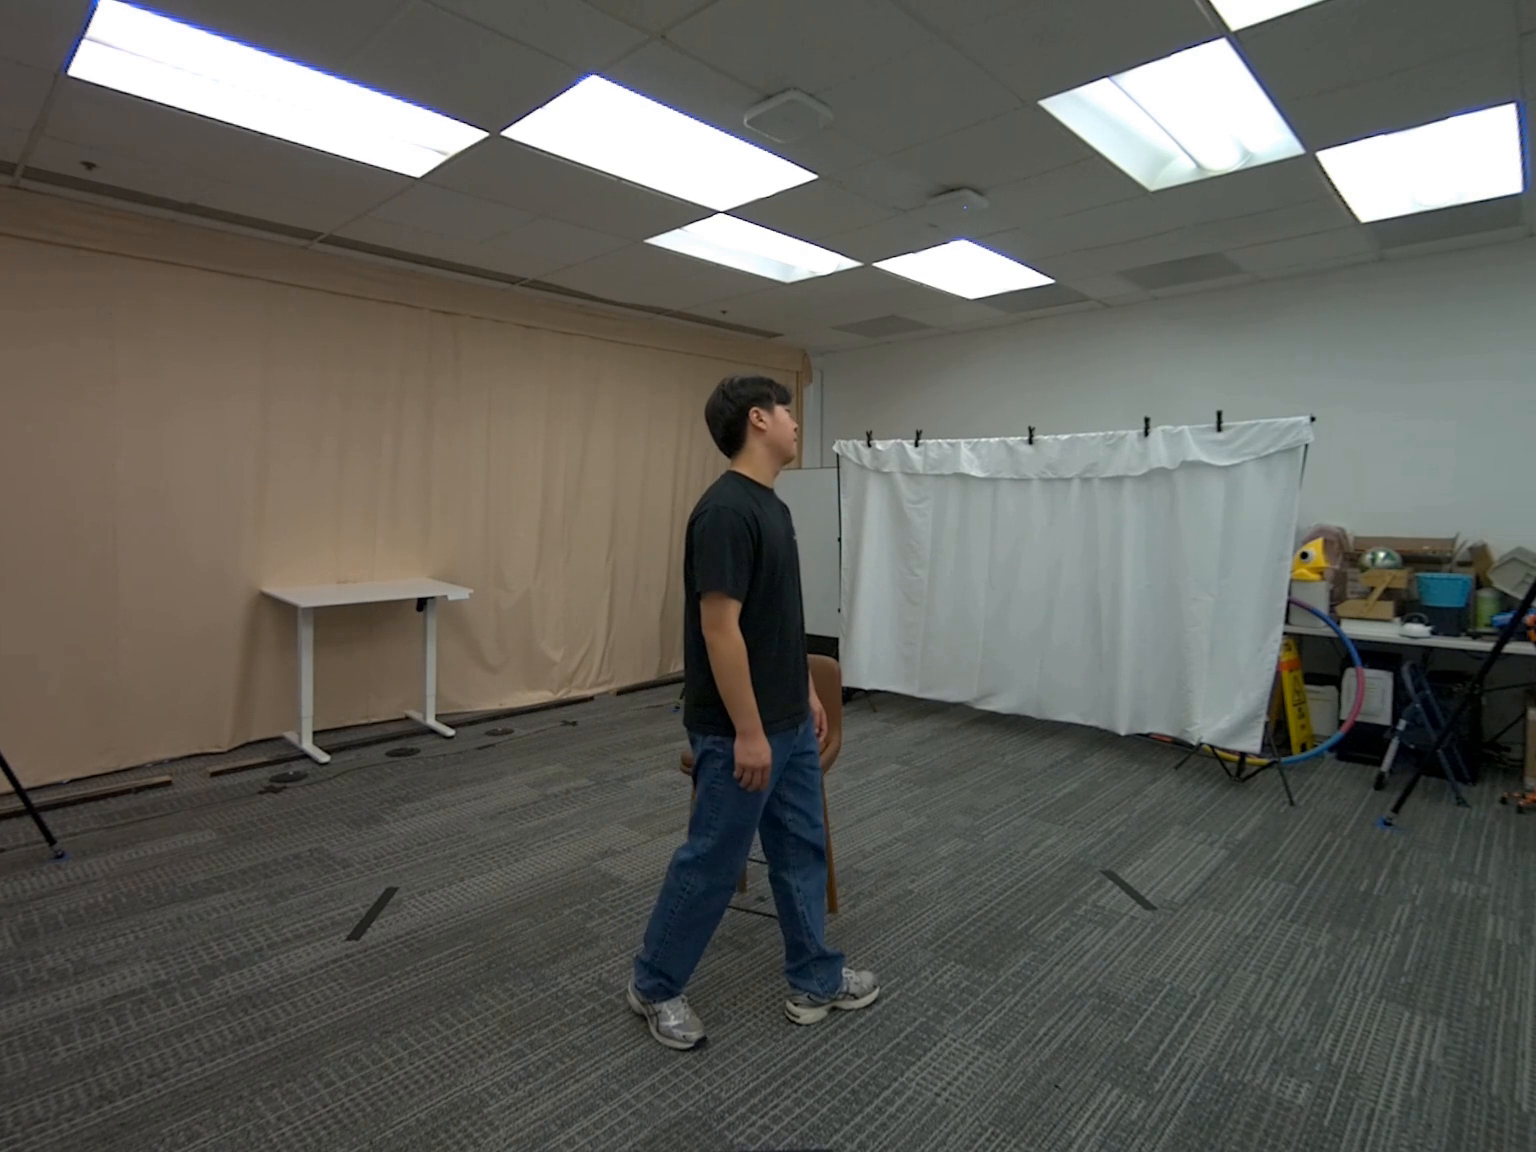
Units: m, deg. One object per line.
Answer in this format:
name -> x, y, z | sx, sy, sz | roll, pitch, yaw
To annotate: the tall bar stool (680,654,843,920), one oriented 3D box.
tall bar stool -> -0.009, 0.725, 2.762 | 0.469, 0.889, 0.456 | 2, 2, 26
